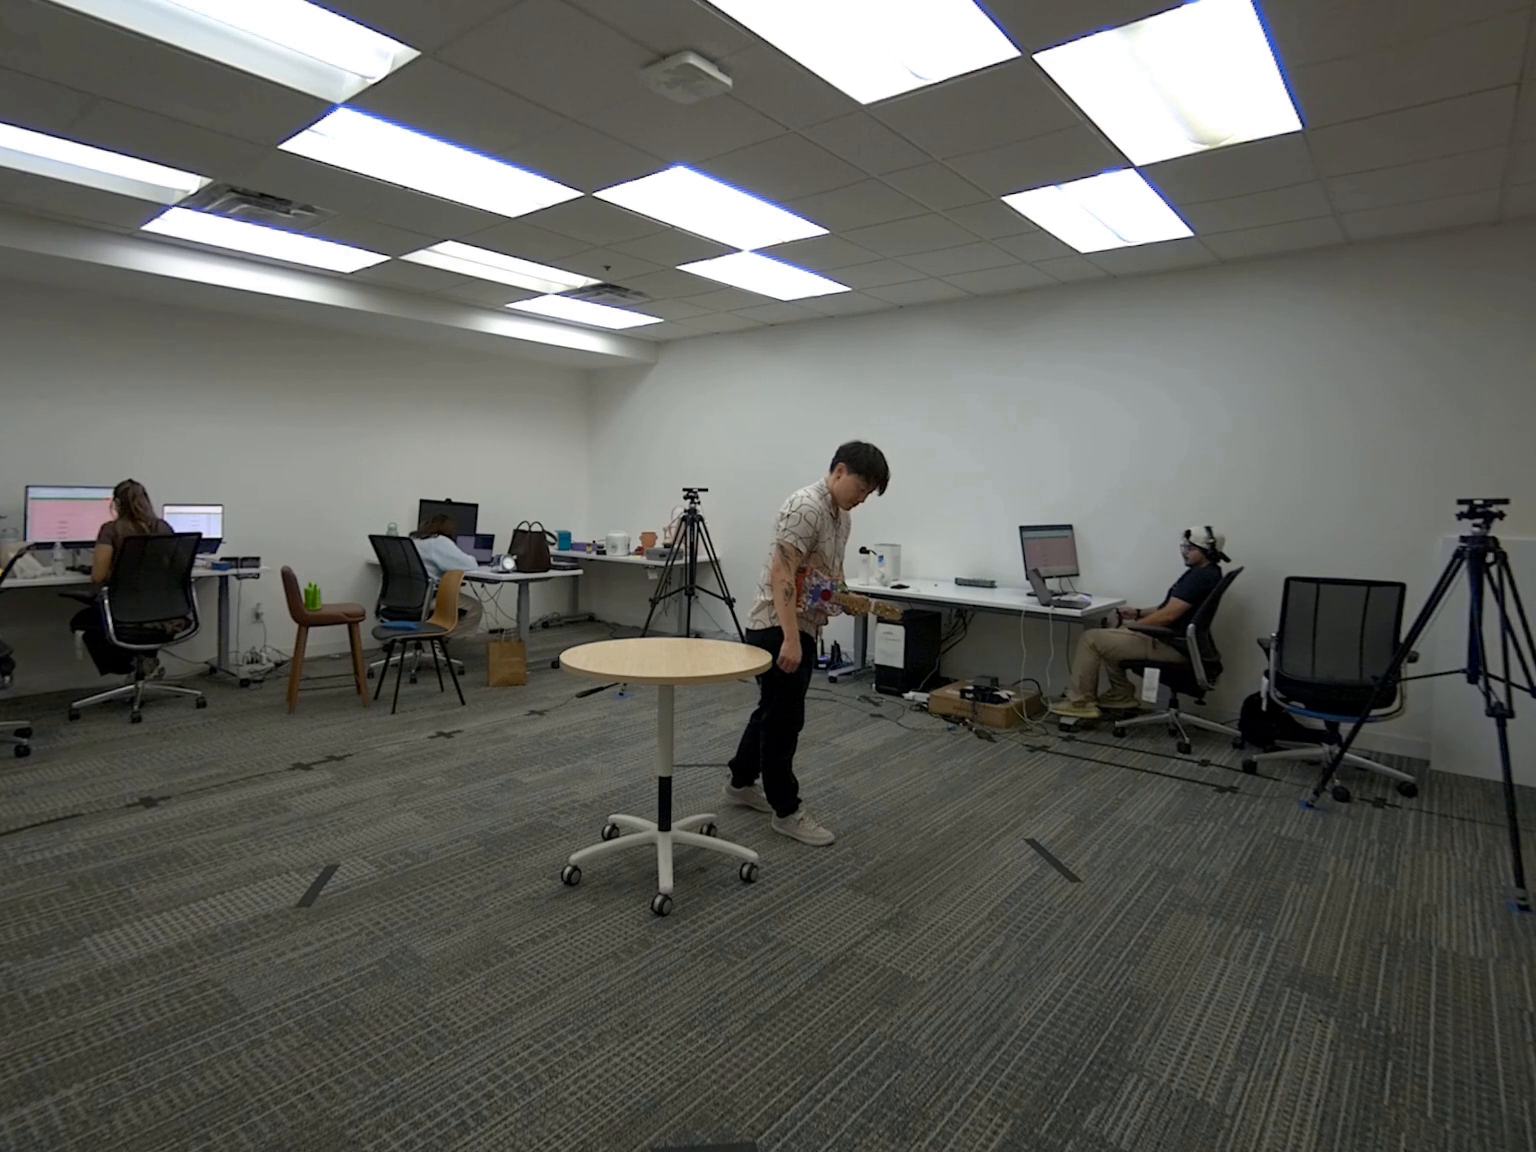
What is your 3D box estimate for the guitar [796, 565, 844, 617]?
[{"bbox_3d":[0.296,0.111,3.313,0.491,0.193,0.071,22,-4,-10],"label":"guitar"}]
